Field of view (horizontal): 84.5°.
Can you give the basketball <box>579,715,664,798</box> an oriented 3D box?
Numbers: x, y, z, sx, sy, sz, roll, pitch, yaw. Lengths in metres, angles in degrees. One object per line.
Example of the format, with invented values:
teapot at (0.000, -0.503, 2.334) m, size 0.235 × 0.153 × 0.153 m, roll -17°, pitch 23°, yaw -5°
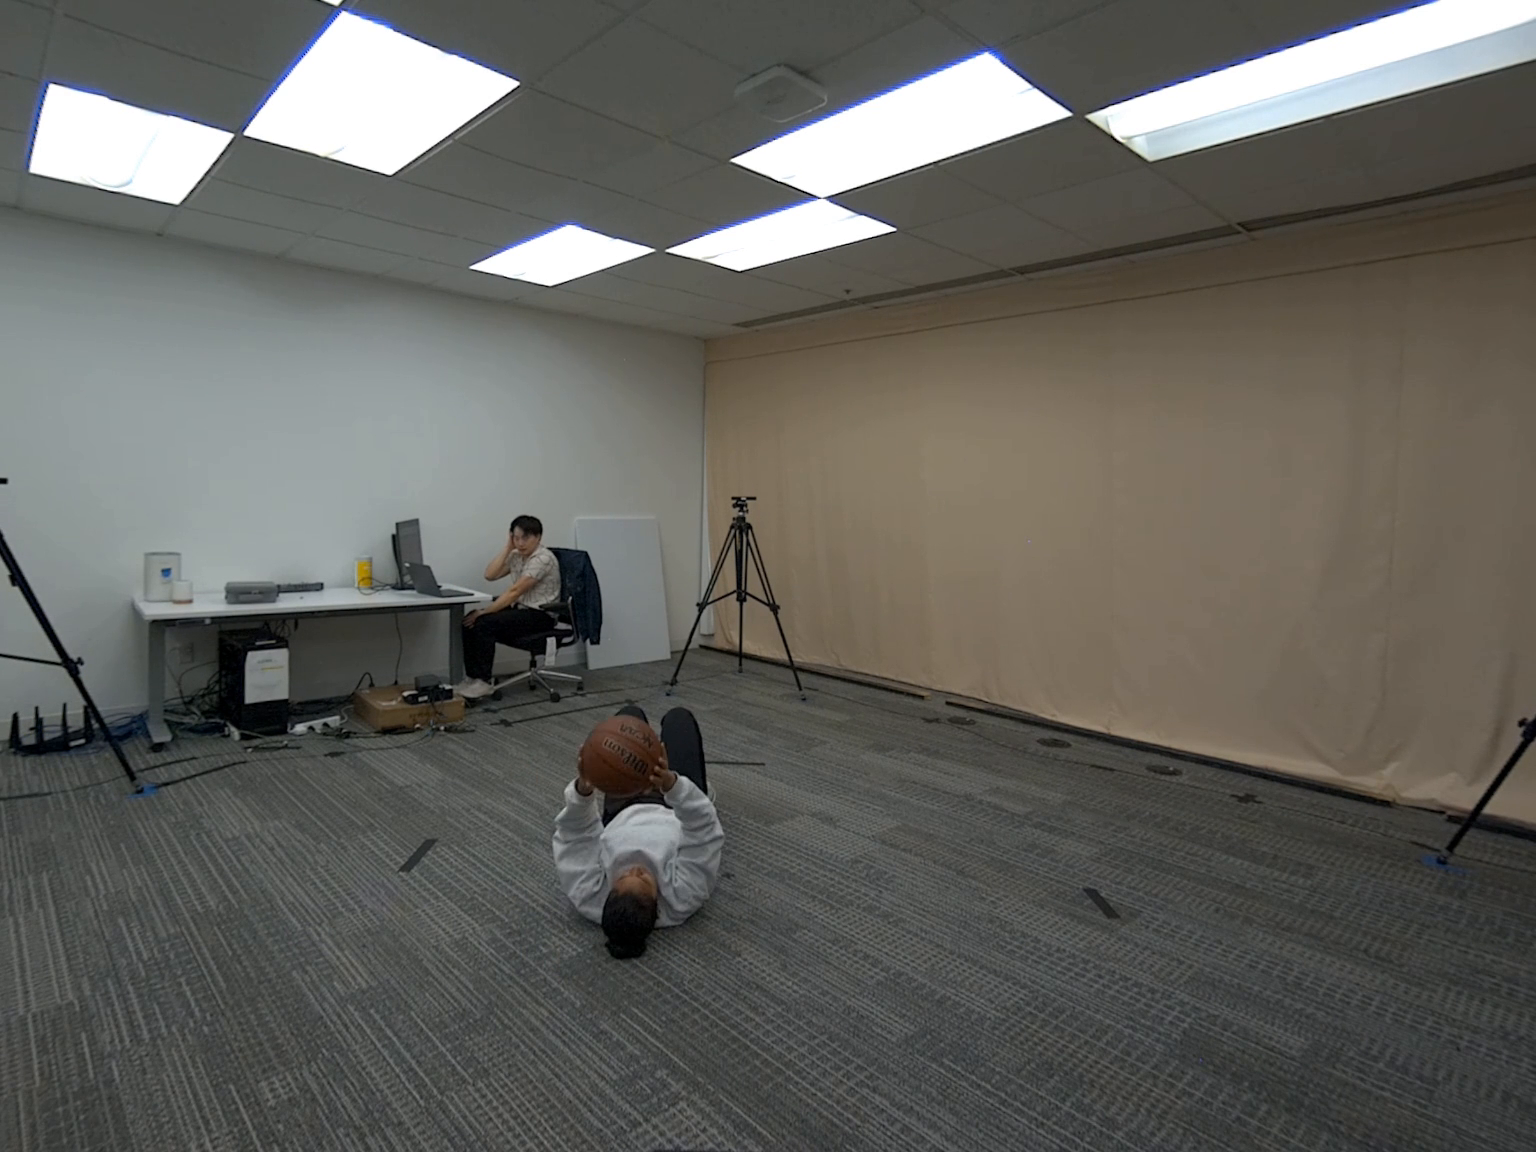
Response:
basketball at (-0.451, 0.554, 2.555) m, size 0.236 × 0.235 × 0.237 m, roll 1°, pitch 4°, yaw -1°
